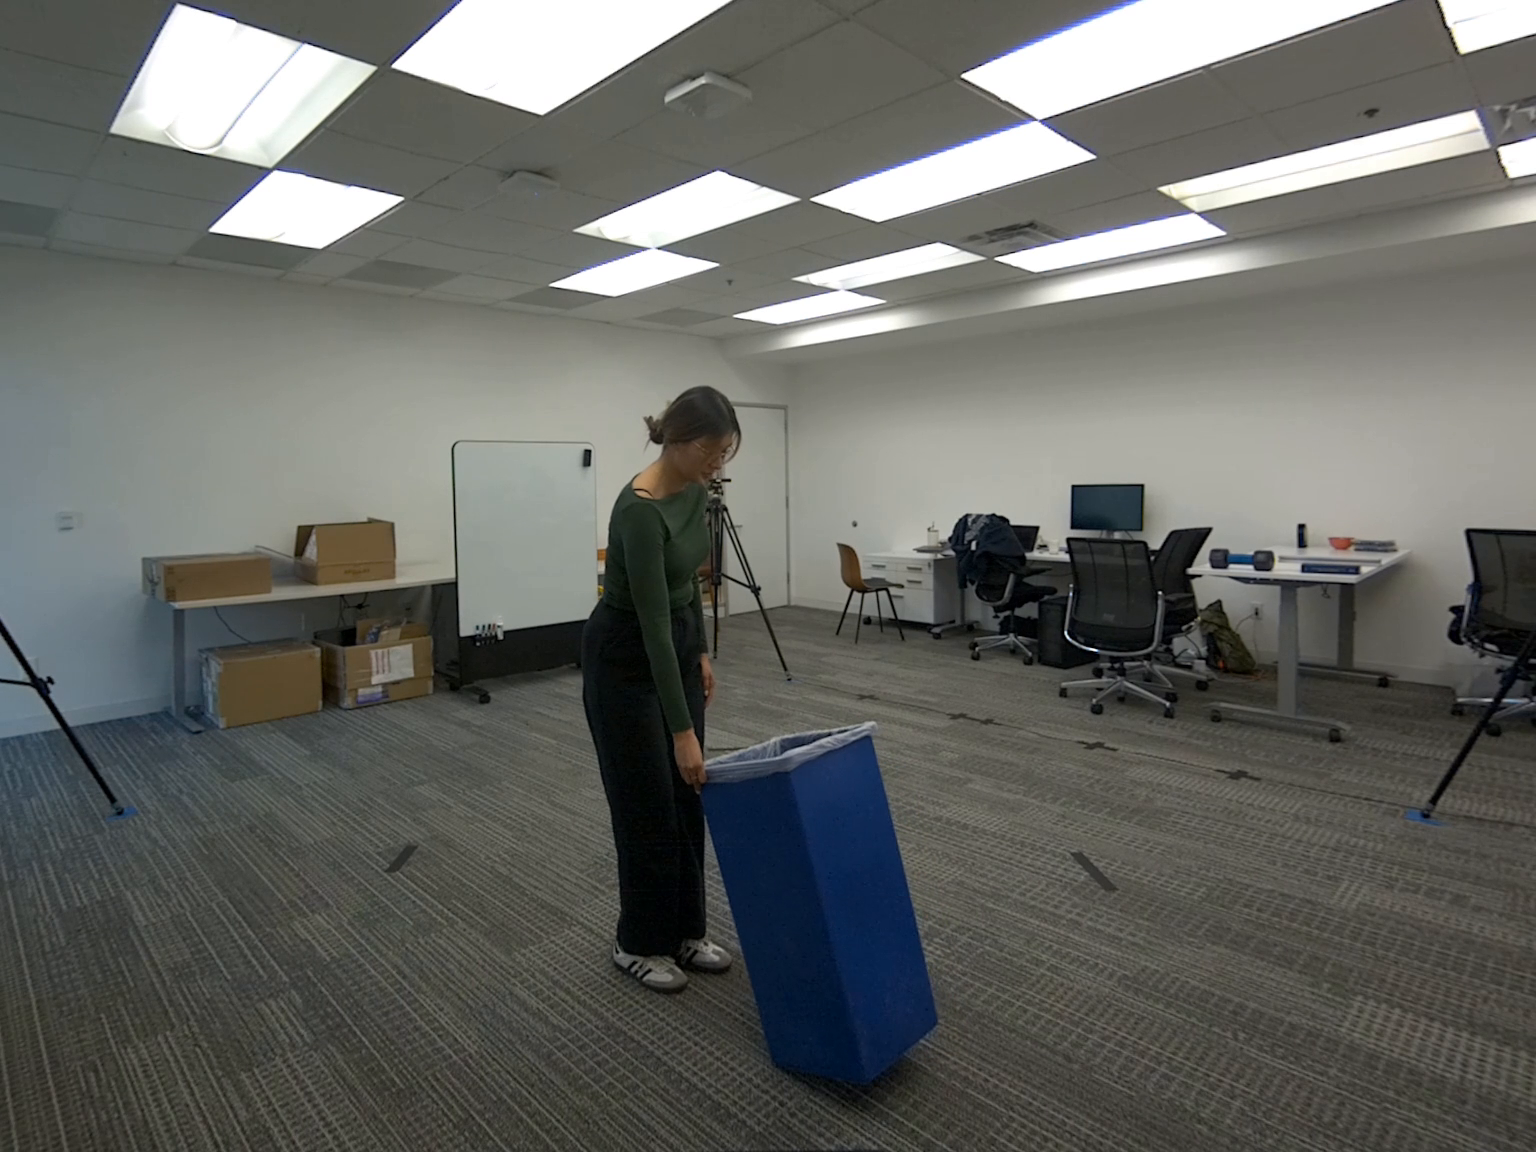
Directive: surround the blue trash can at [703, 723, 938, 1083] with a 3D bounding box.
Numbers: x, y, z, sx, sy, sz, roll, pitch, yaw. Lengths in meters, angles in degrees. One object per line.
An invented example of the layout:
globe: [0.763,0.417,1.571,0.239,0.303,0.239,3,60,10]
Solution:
blue trash can: [0.134,0.771,2.102,0.368,0.721,0.380,-6,-13,-45]
